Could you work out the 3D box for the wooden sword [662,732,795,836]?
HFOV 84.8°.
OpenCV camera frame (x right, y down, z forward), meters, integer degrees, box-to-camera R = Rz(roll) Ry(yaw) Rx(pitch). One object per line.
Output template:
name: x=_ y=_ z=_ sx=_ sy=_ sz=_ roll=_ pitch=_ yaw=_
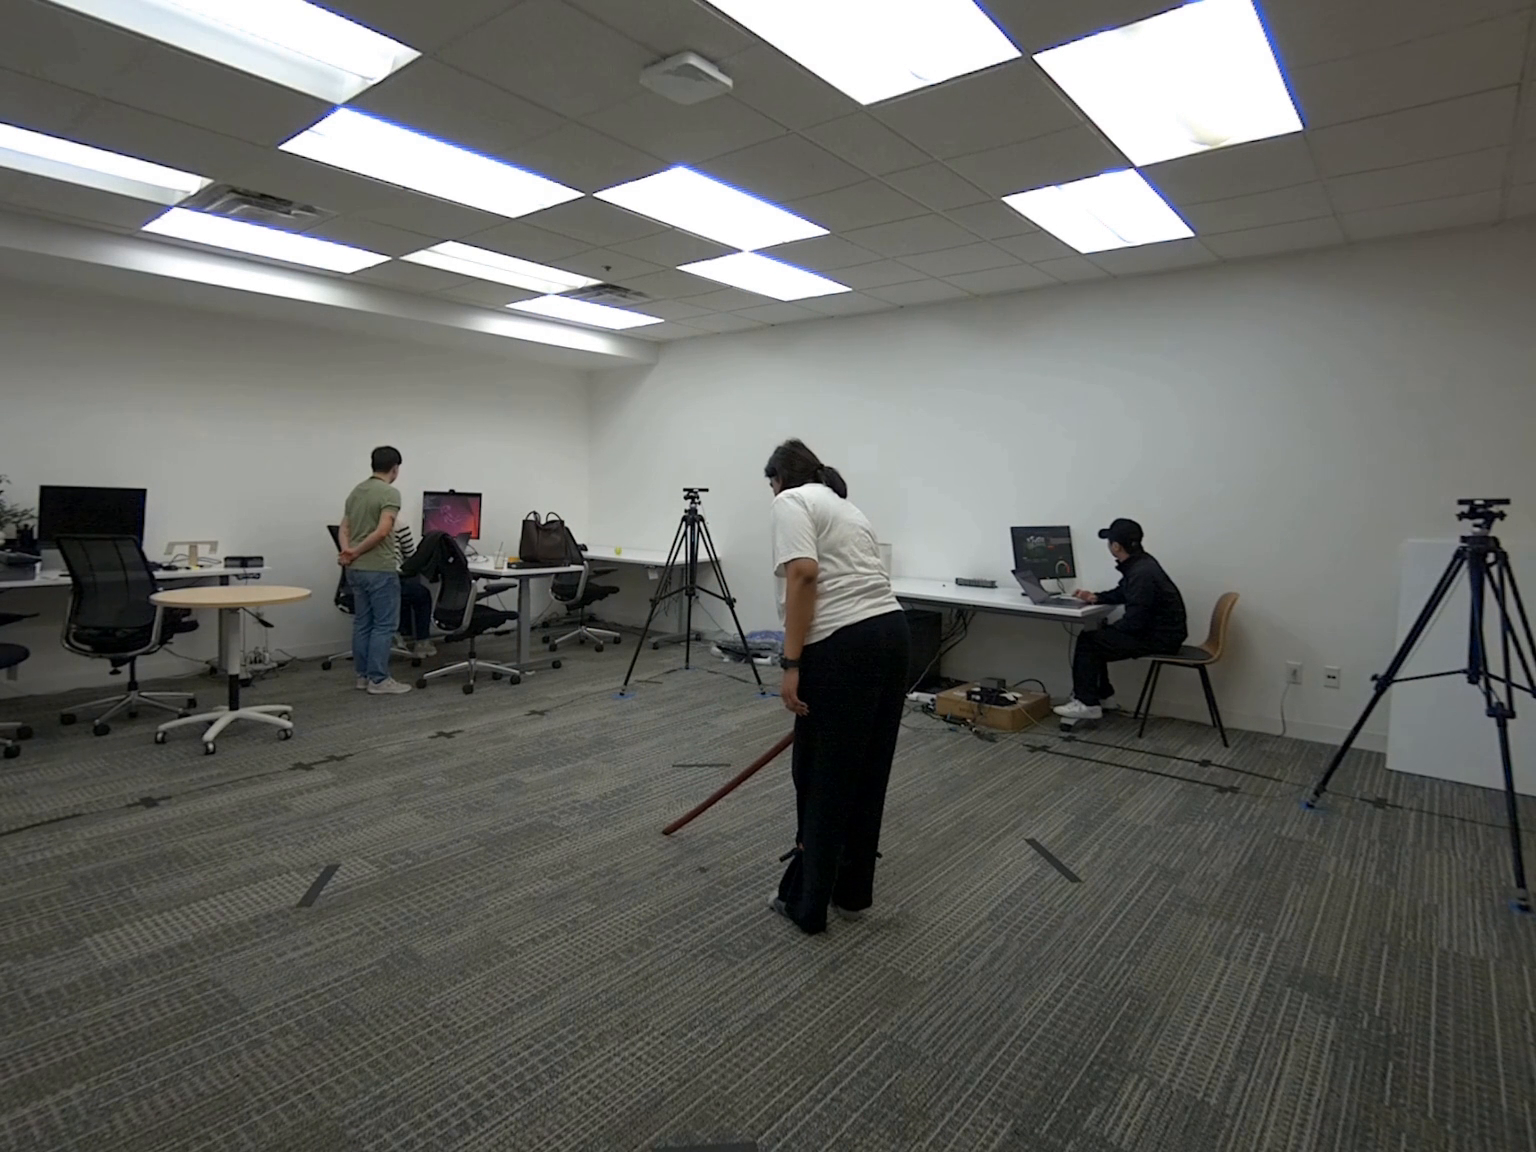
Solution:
wooden sword: x=-0.085 y=0.730 z=3.197 sx=1.028 sy=0.025 sz=0.049 roll=-40 pitch=-38 yaw=25
